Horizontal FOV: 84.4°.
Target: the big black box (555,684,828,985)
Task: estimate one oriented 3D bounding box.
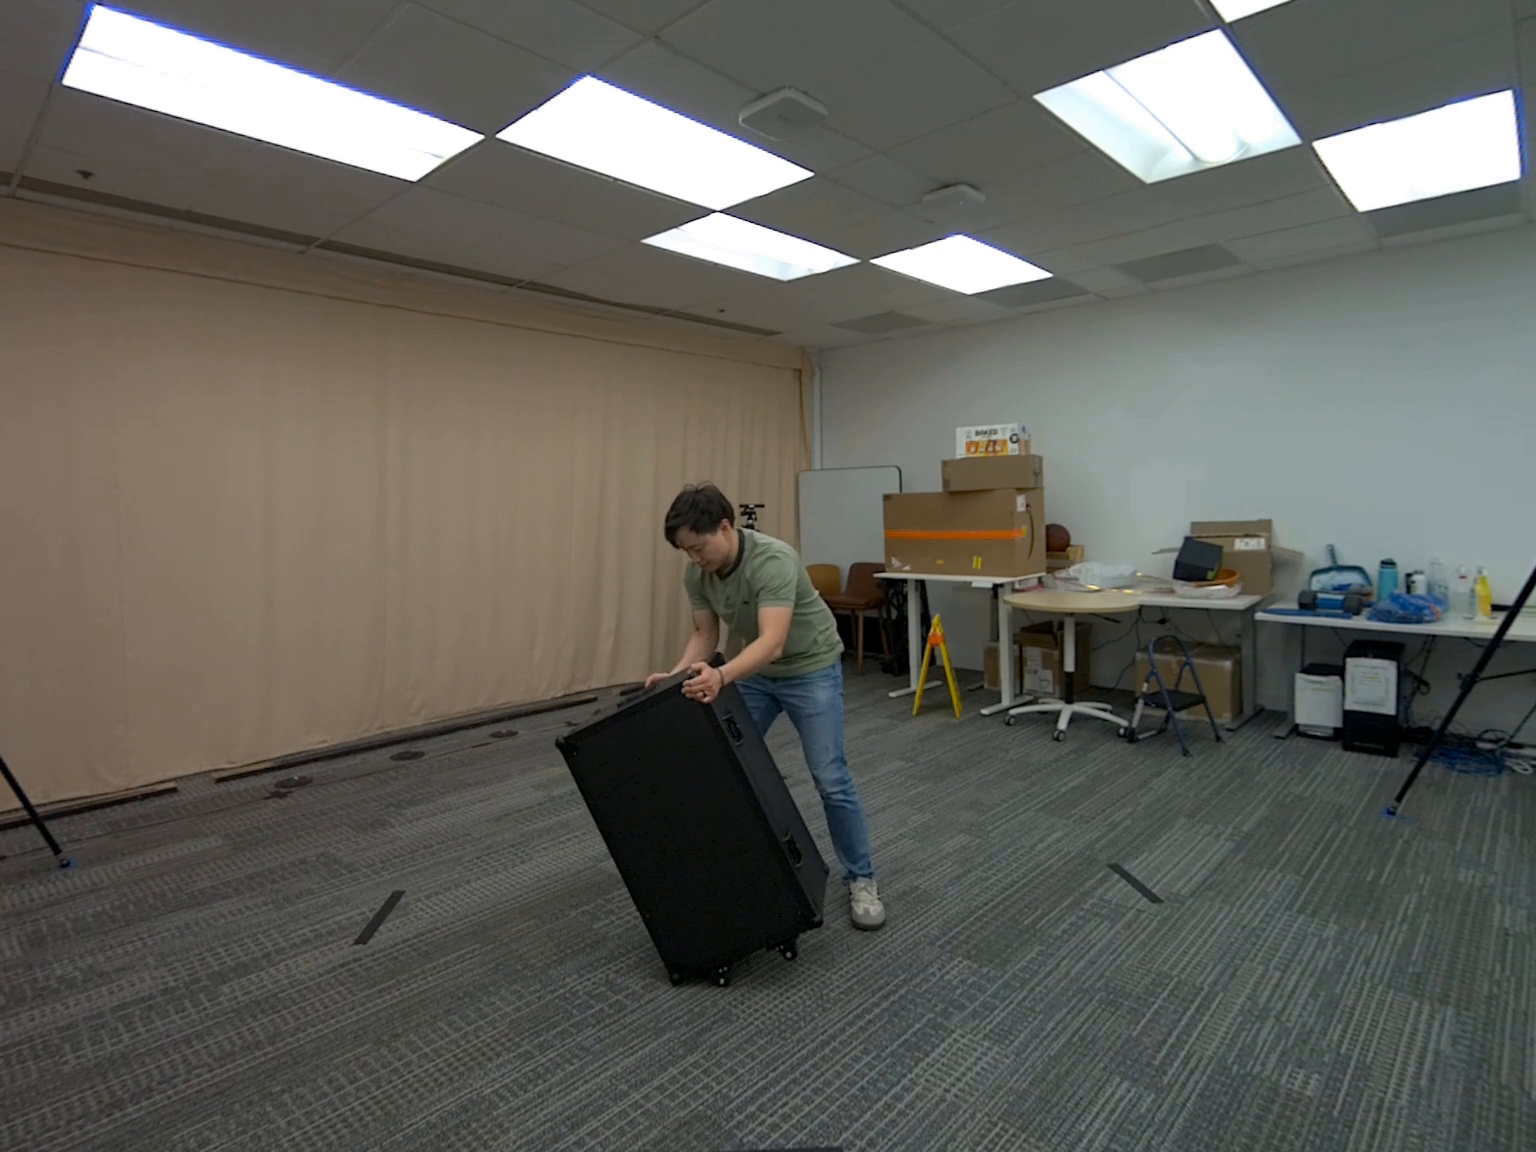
[{"bbox_3d":[-0.221,0.693,2.585,0.526,0.862,0.392,-27,-1,12],"label":"big black box"}]
